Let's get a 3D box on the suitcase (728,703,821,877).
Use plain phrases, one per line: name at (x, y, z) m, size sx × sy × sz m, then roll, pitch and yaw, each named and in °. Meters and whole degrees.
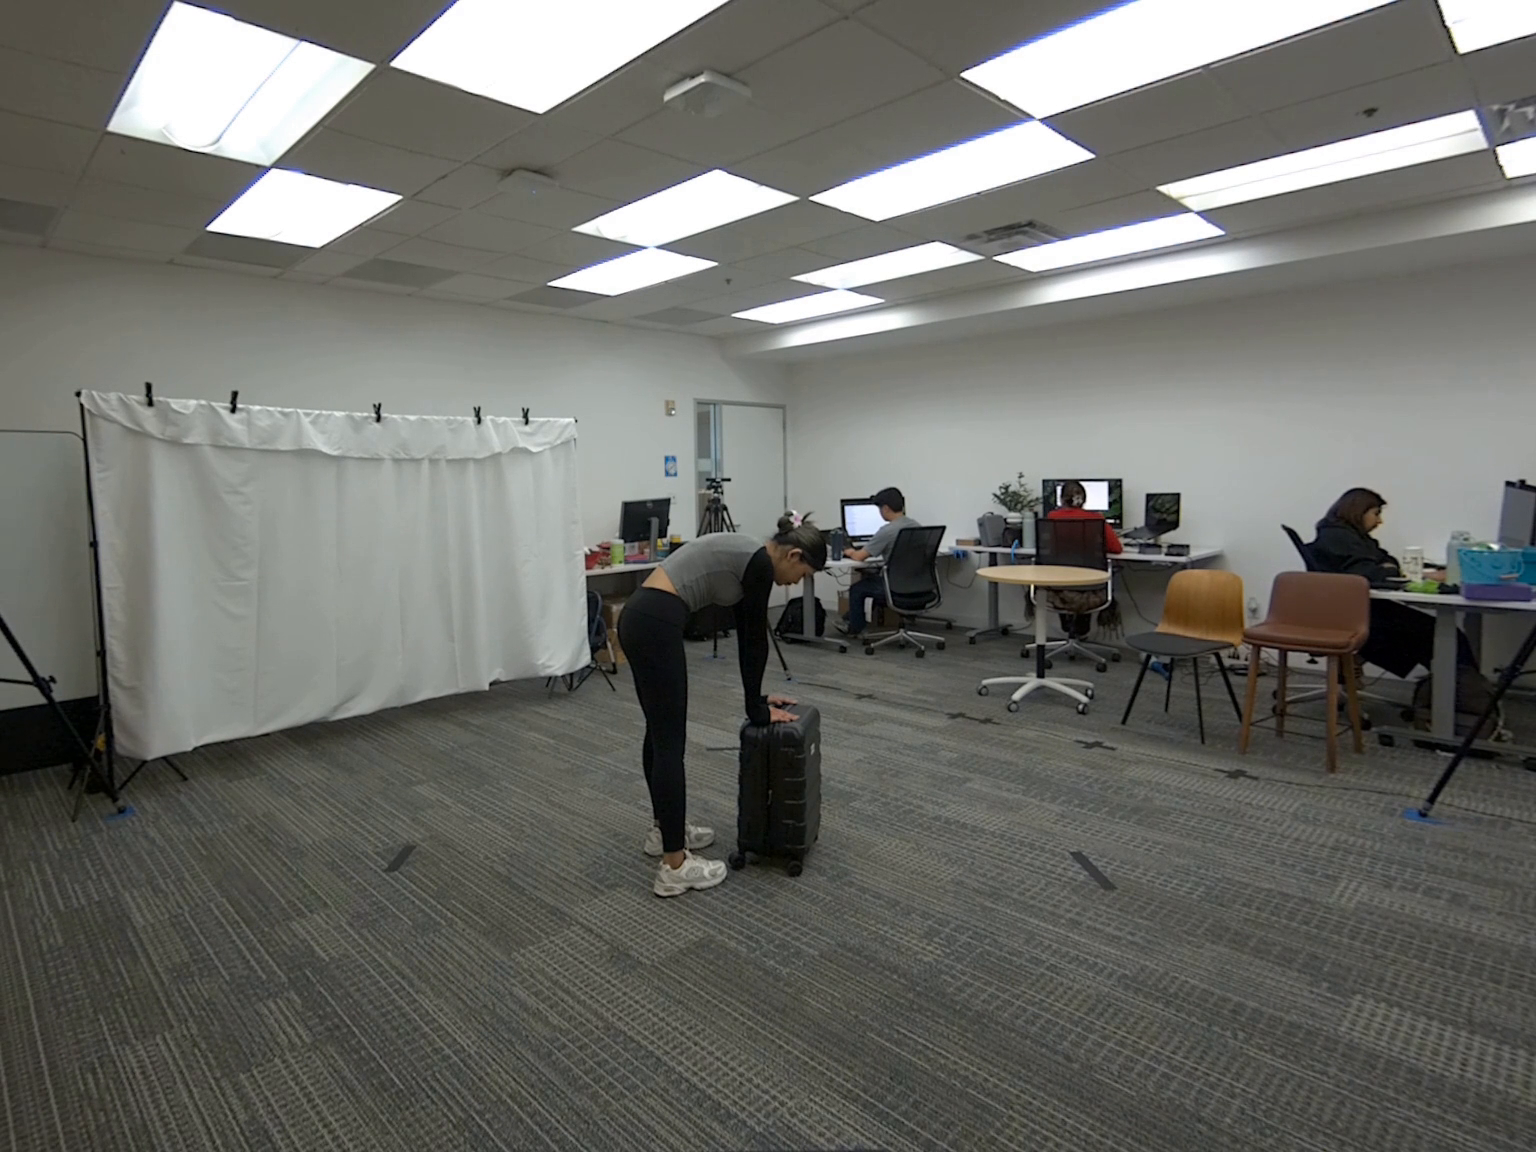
suitcase at (0.043, 0.758, 3.169) m, size 0.253 × 0.547 × 0.370 m, roll 2°, pitch 5°, yaw 17°
